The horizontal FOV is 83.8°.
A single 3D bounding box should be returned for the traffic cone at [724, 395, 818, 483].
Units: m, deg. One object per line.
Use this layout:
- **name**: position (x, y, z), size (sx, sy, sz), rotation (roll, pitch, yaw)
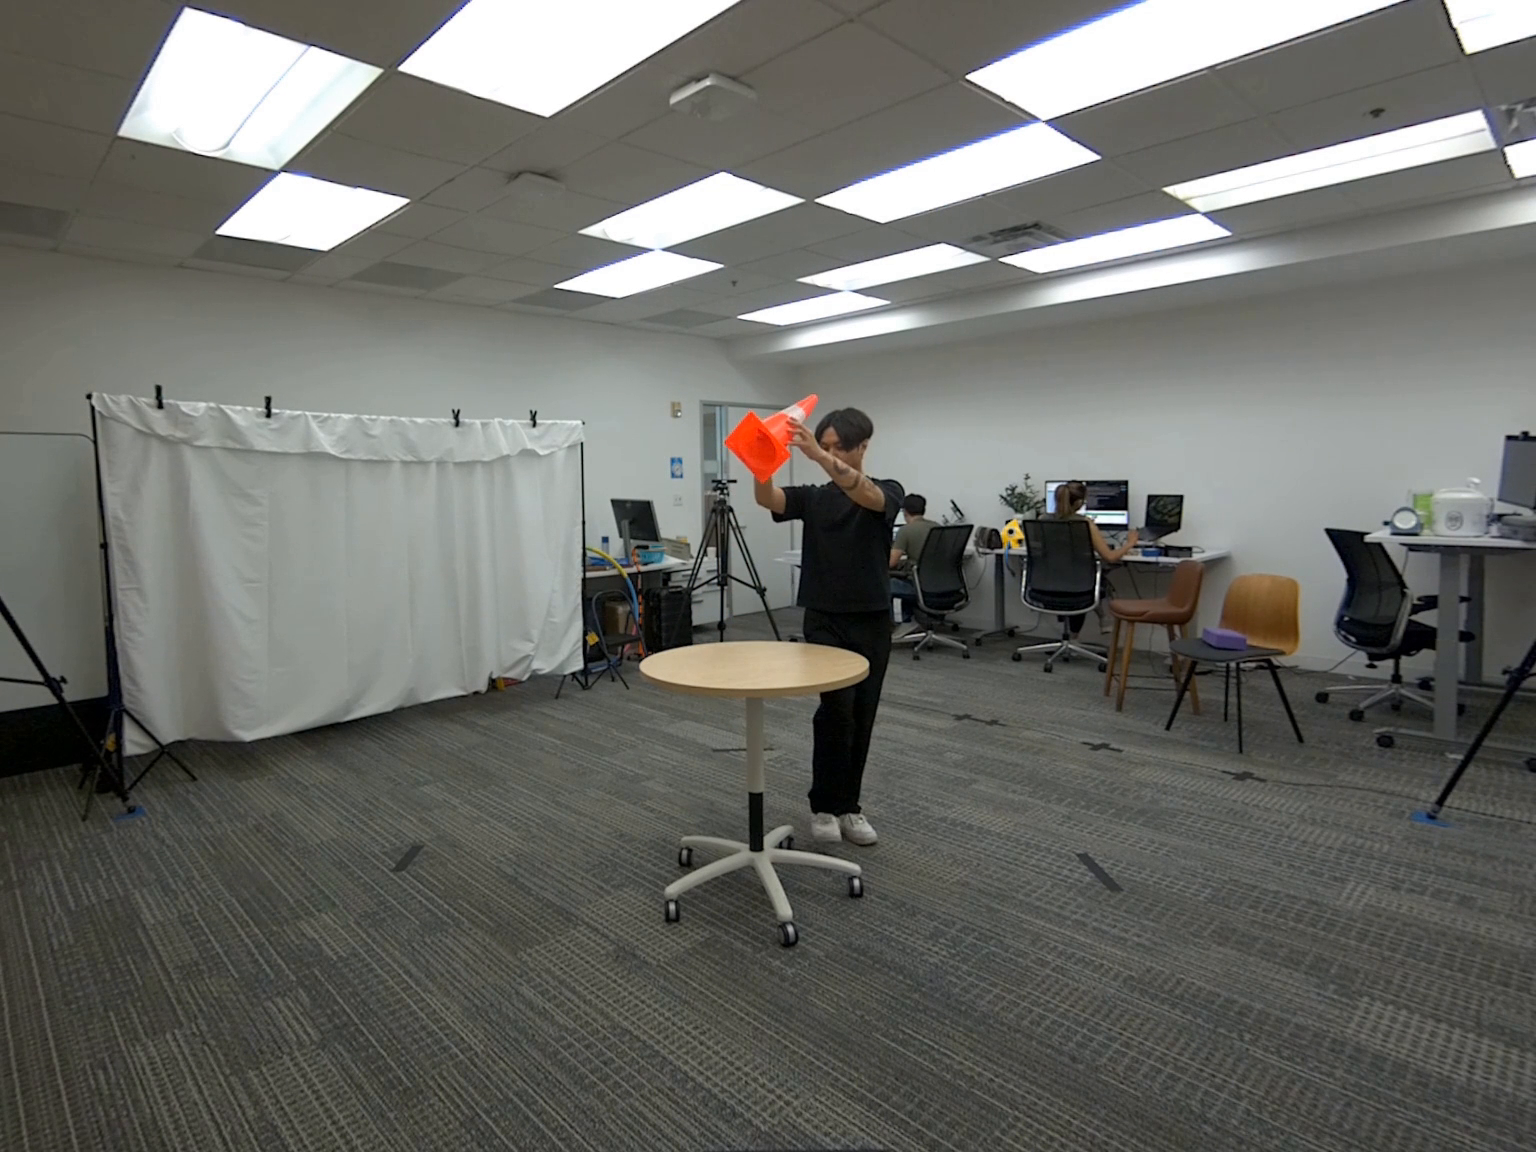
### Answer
- **traffic cone**: position (0.062, -0.518, 2.965), size (0.384, 0.204, 0.204), rotation (-49, 4, -38)
